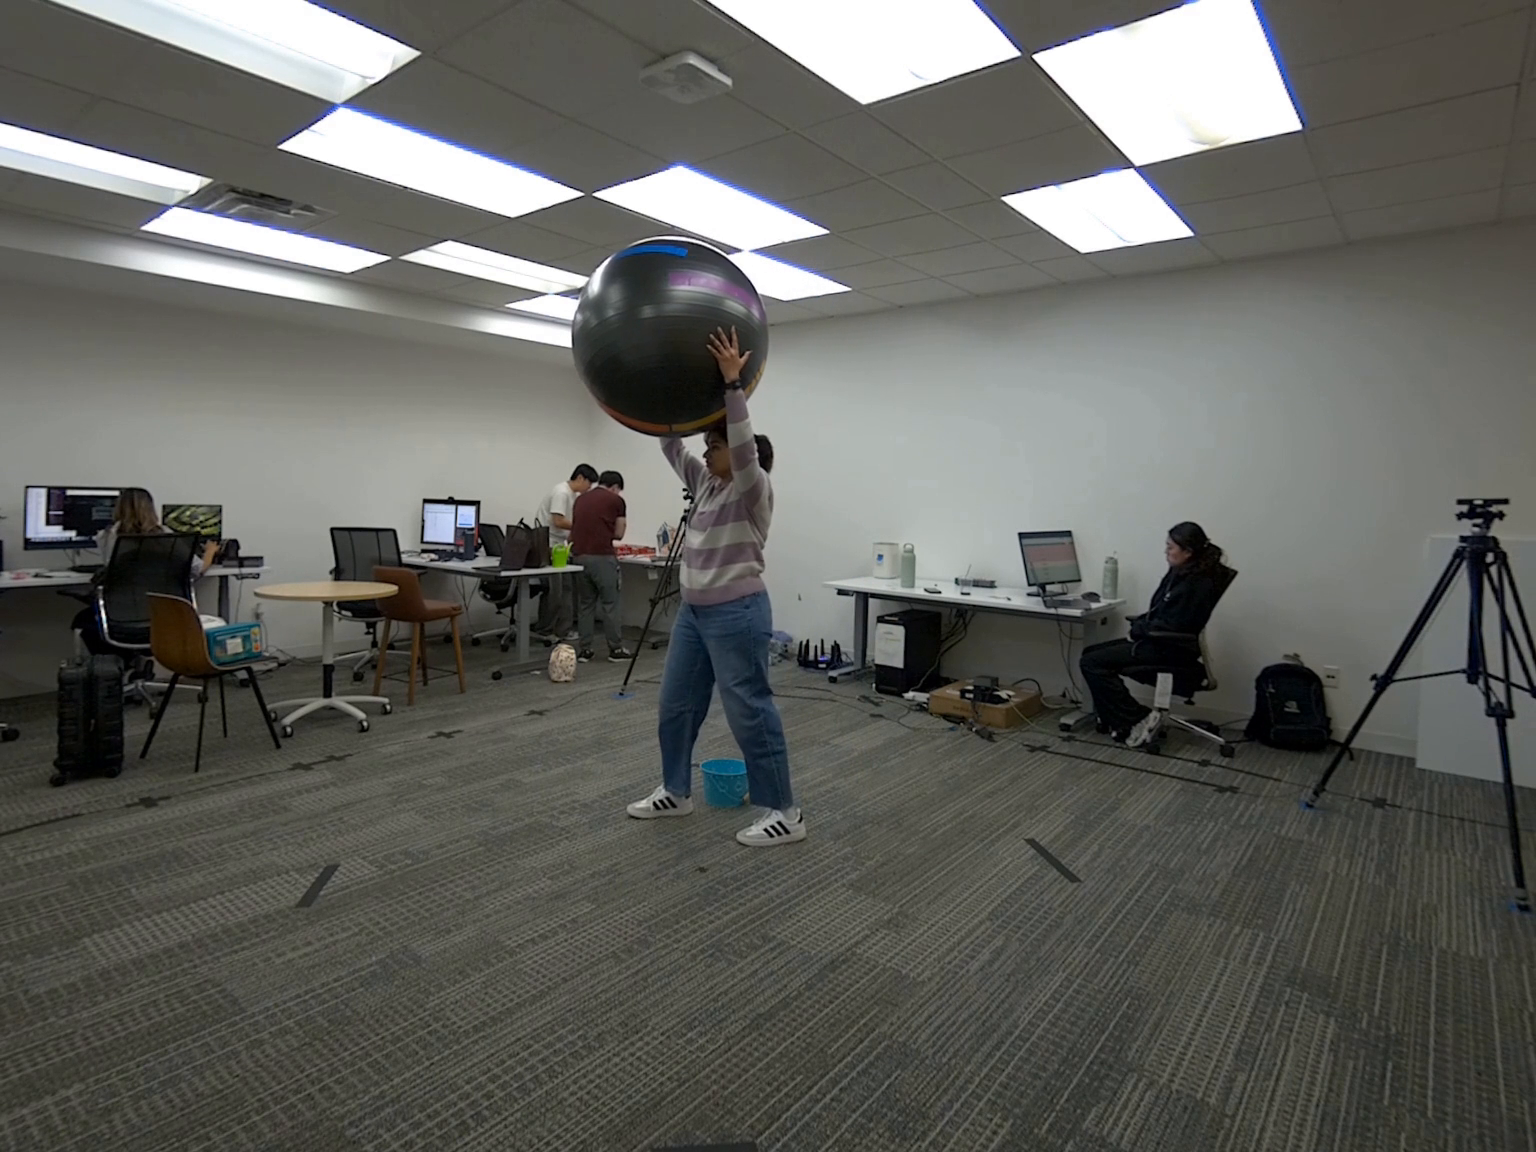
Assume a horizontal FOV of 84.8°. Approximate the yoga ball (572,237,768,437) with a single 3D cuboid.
[{"bbox_3d":[-0.389,-0.917,3.298,0.757,0.756,0.761,1,4,-2],"label":"yoga ball"}]
